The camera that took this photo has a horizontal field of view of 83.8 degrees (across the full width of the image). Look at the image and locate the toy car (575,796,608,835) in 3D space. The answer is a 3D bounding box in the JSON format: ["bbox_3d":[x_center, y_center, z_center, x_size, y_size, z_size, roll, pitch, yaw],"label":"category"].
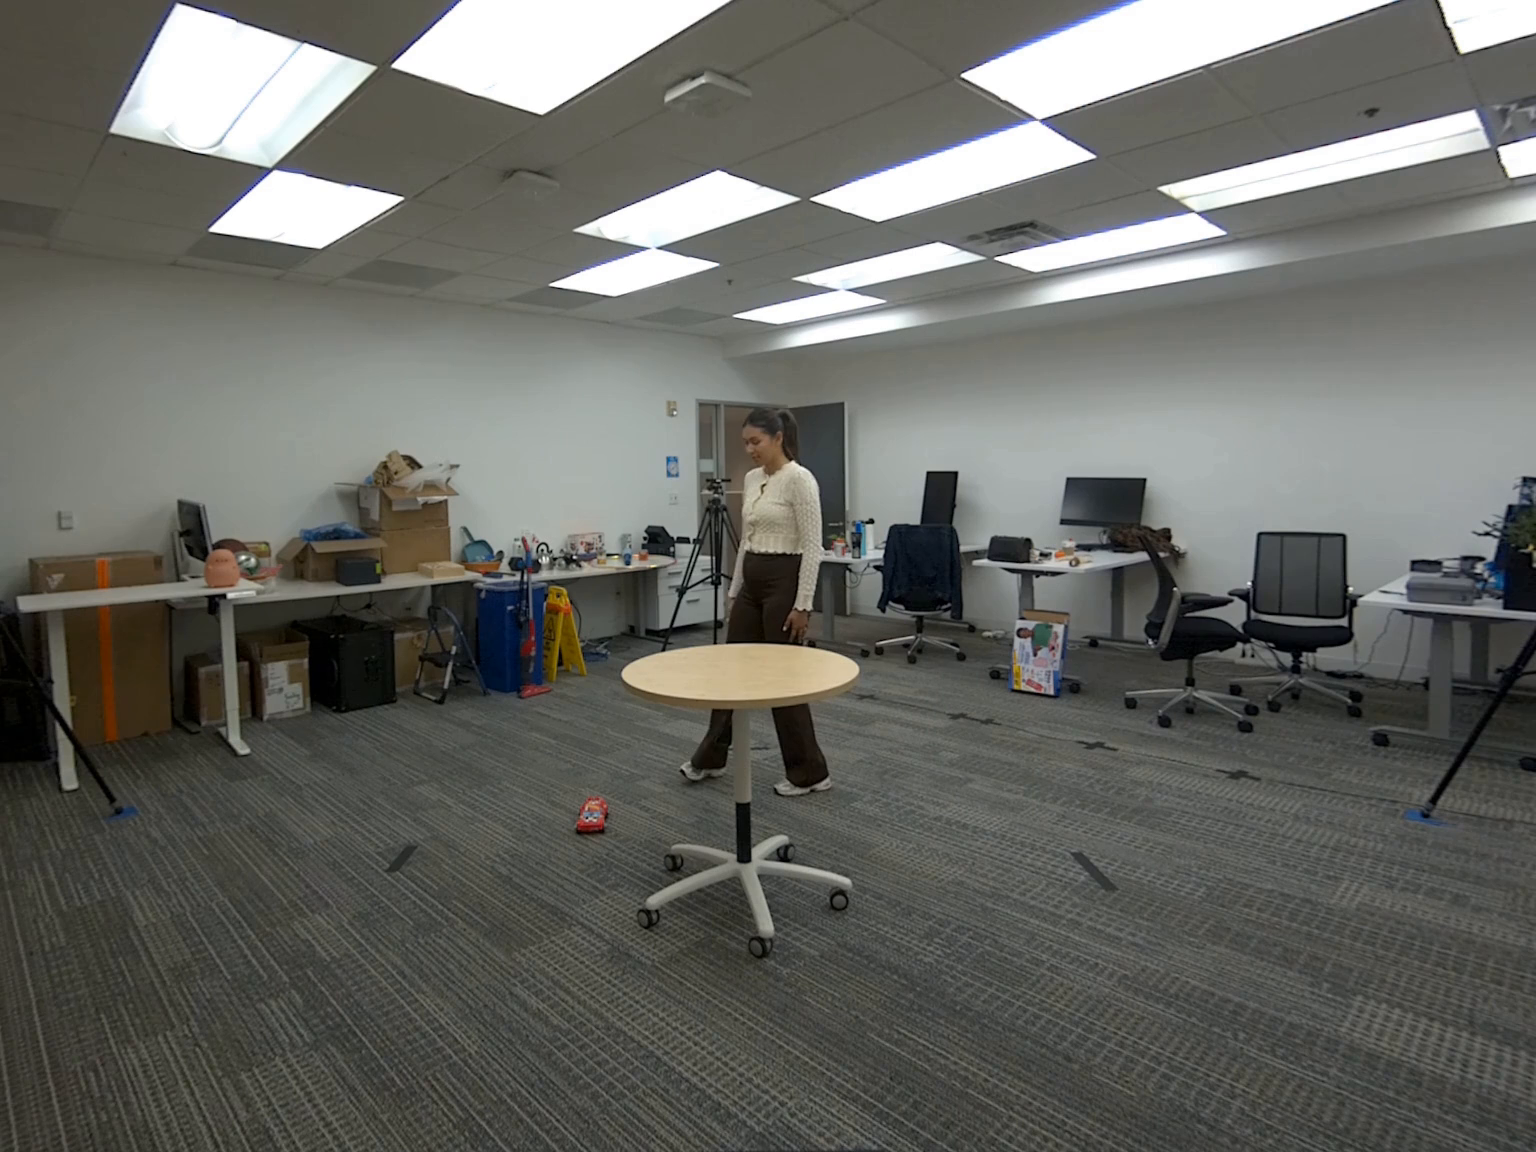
[{"bbox_3d":[-0.720,0.982,3.503,0.130,0.082,0.259,-1,17,-6],"label":"toy car"}]
